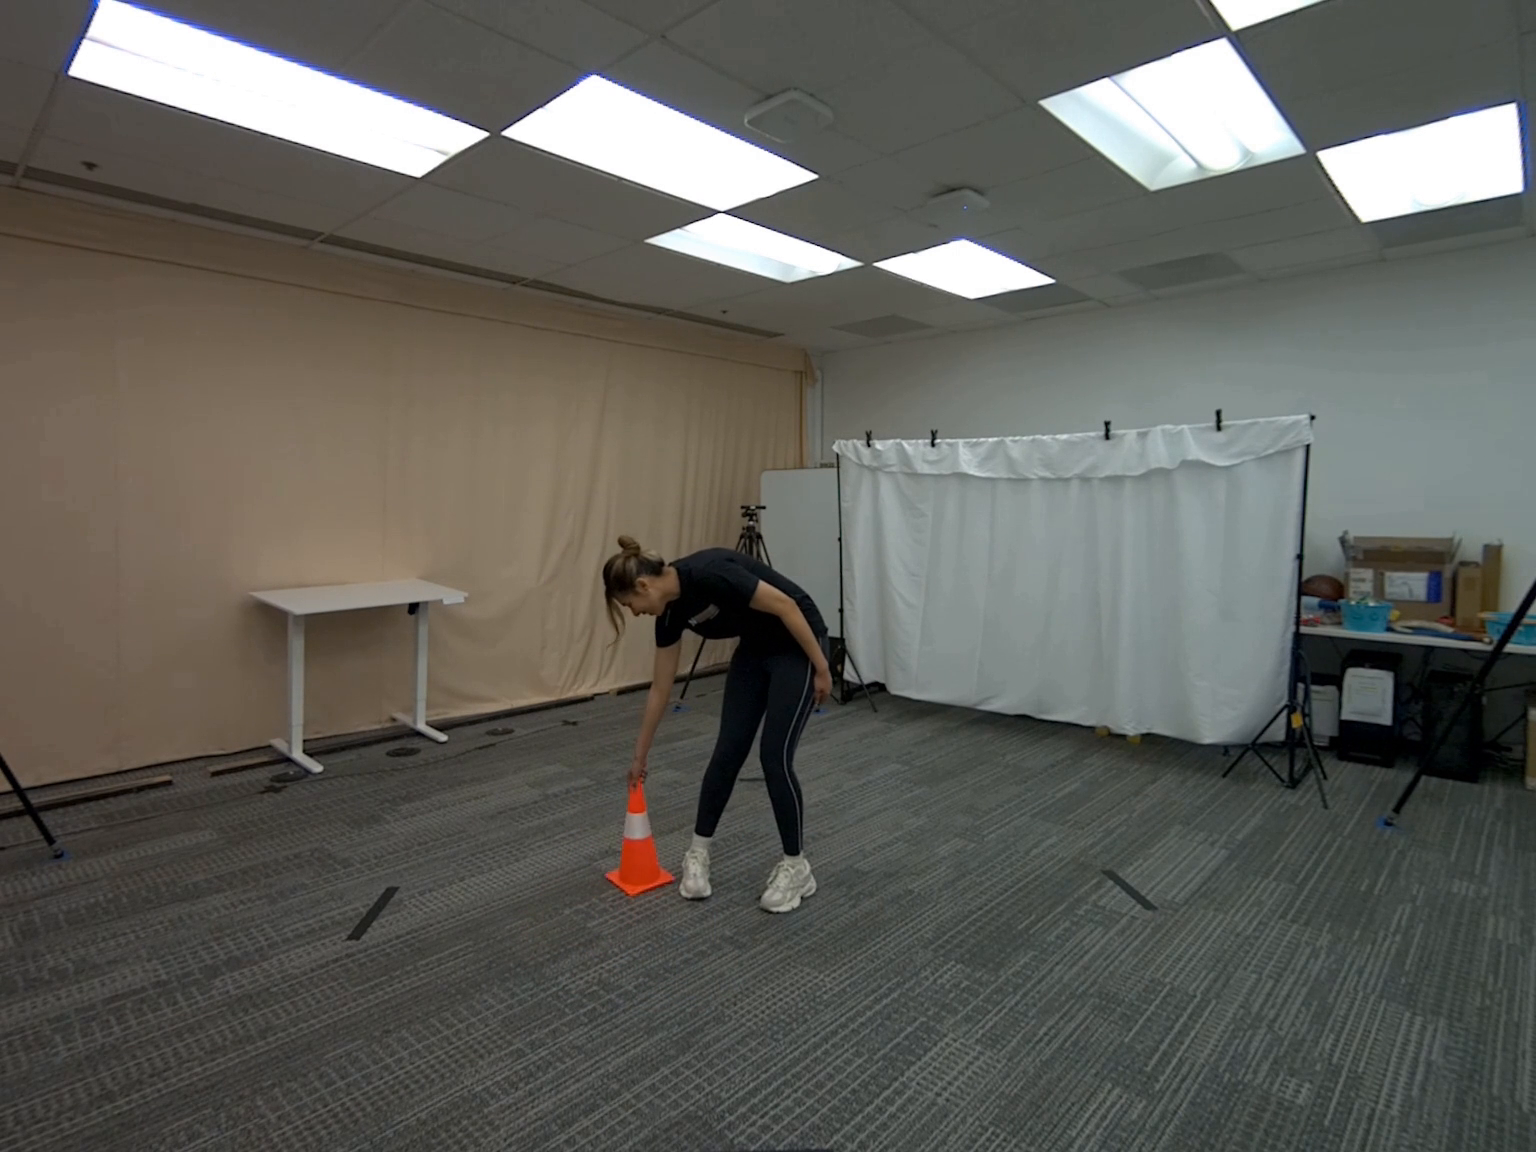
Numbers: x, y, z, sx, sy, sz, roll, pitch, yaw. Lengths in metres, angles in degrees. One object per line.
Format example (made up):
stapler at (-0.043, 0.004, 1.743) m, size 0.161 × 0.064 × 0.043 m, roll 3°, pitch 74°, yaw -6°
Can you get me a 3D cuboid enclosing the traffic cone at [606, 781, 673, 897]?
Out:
traffic cone at (-0.493, 0.943, 3.126) m, size 0.197 × 0.382 × 0.212 m, roll -6°, pitch 8°, yaw -38°
